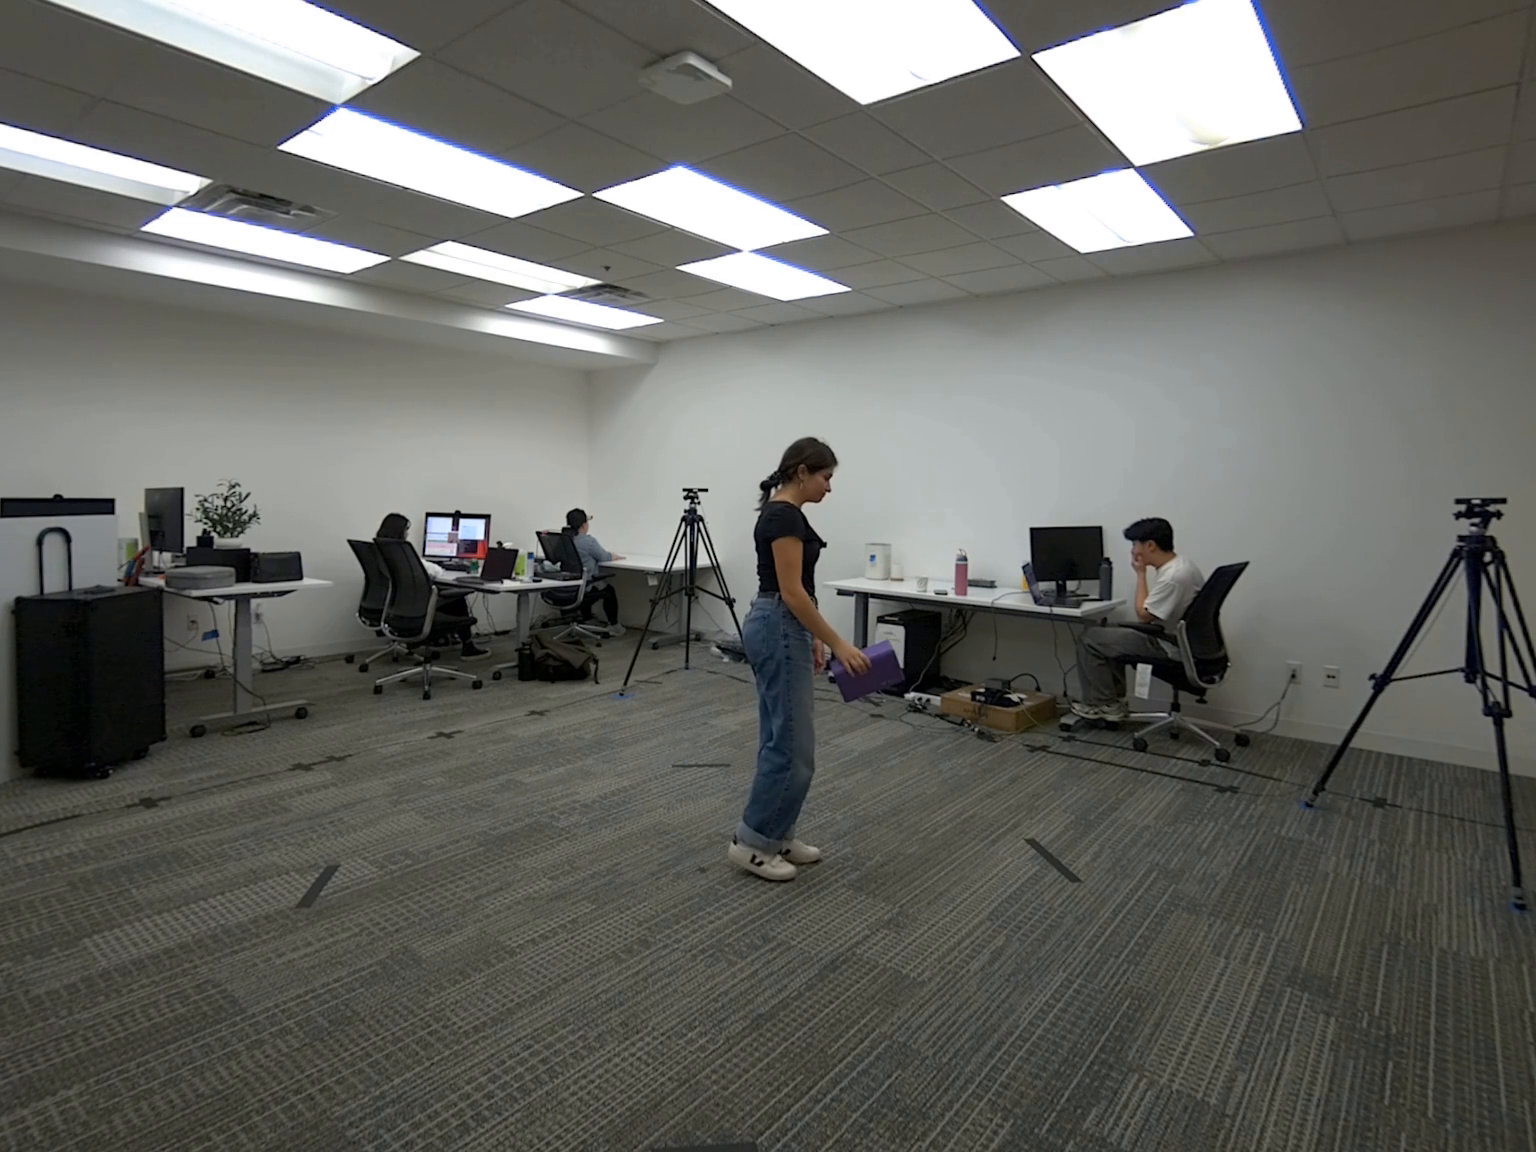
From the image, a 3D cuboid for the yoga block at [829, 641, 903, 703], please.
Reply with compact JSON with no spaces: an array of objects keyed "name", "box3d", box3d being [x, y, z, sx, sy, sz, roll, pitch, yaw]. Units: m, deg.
[{"name":"yoga block","box3d":[0.370,0.329,3.020,0.229,0.145,0.078,-25,19,1]}]
